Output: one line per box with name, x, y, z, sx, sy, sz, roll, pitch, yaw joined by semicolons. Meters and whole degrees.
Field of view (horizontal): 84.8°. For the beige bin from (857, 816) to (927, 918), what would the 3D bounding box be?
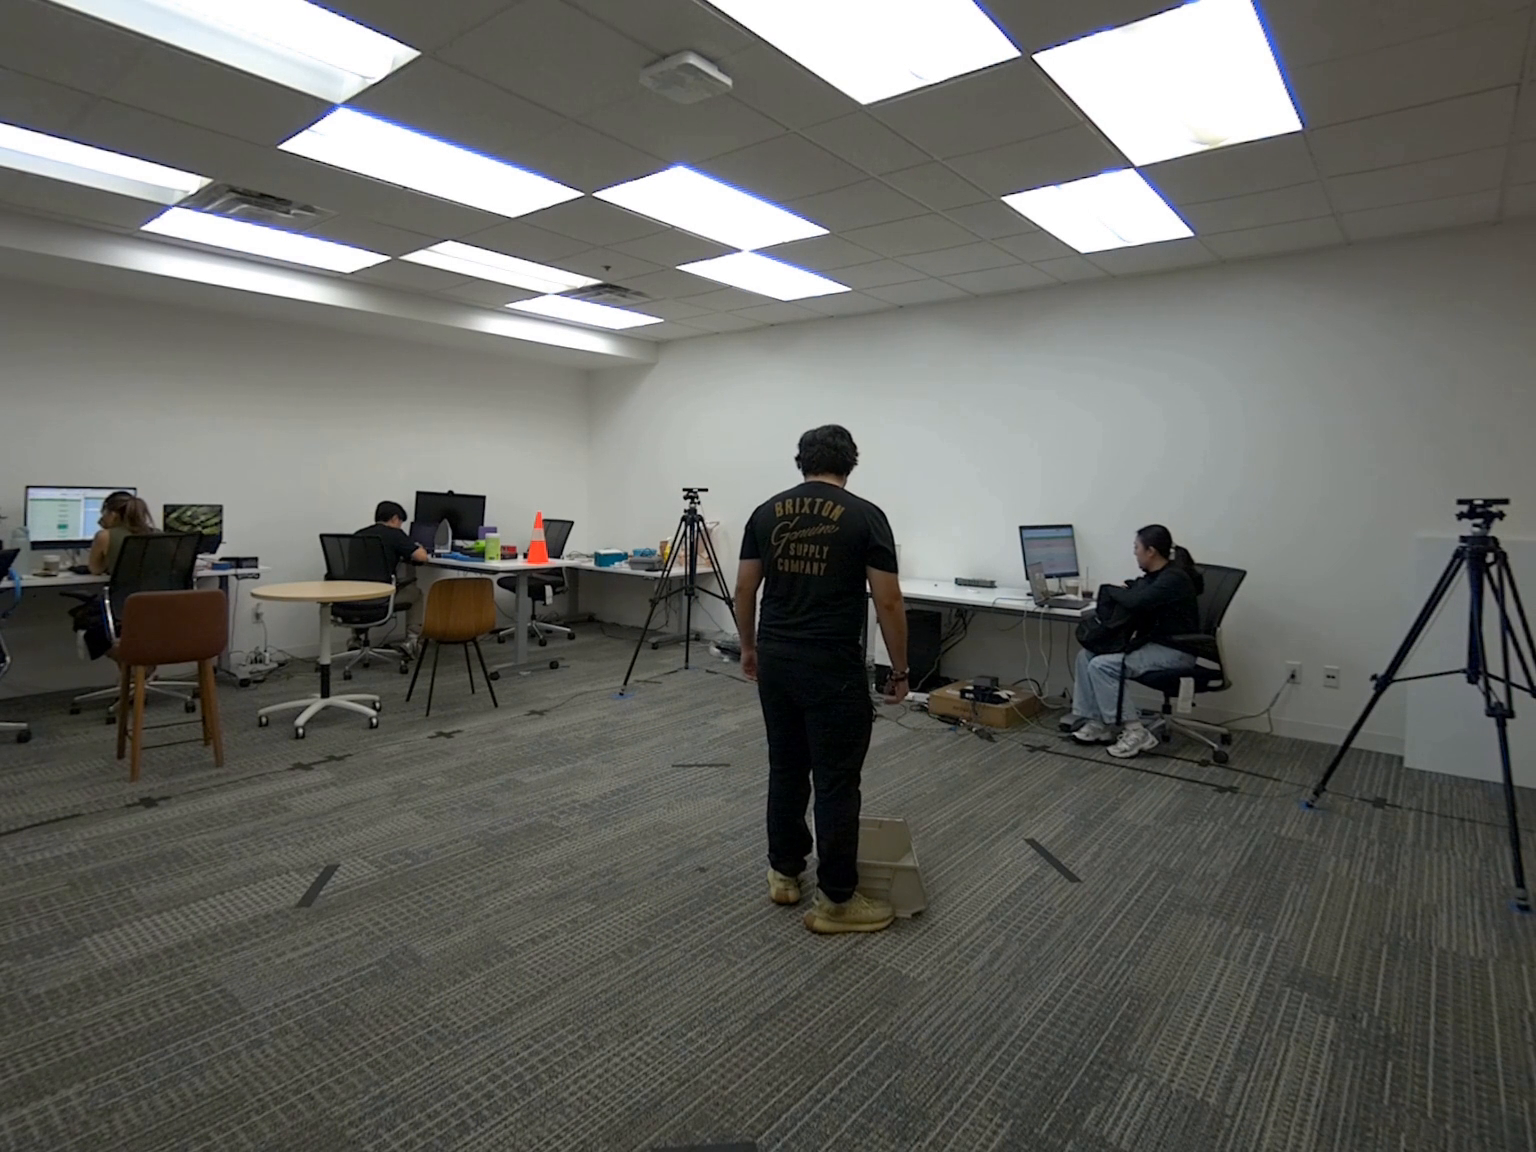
beige bin;0.341;1.004;3.000;0.380;0.188;0.421;1;5;5
